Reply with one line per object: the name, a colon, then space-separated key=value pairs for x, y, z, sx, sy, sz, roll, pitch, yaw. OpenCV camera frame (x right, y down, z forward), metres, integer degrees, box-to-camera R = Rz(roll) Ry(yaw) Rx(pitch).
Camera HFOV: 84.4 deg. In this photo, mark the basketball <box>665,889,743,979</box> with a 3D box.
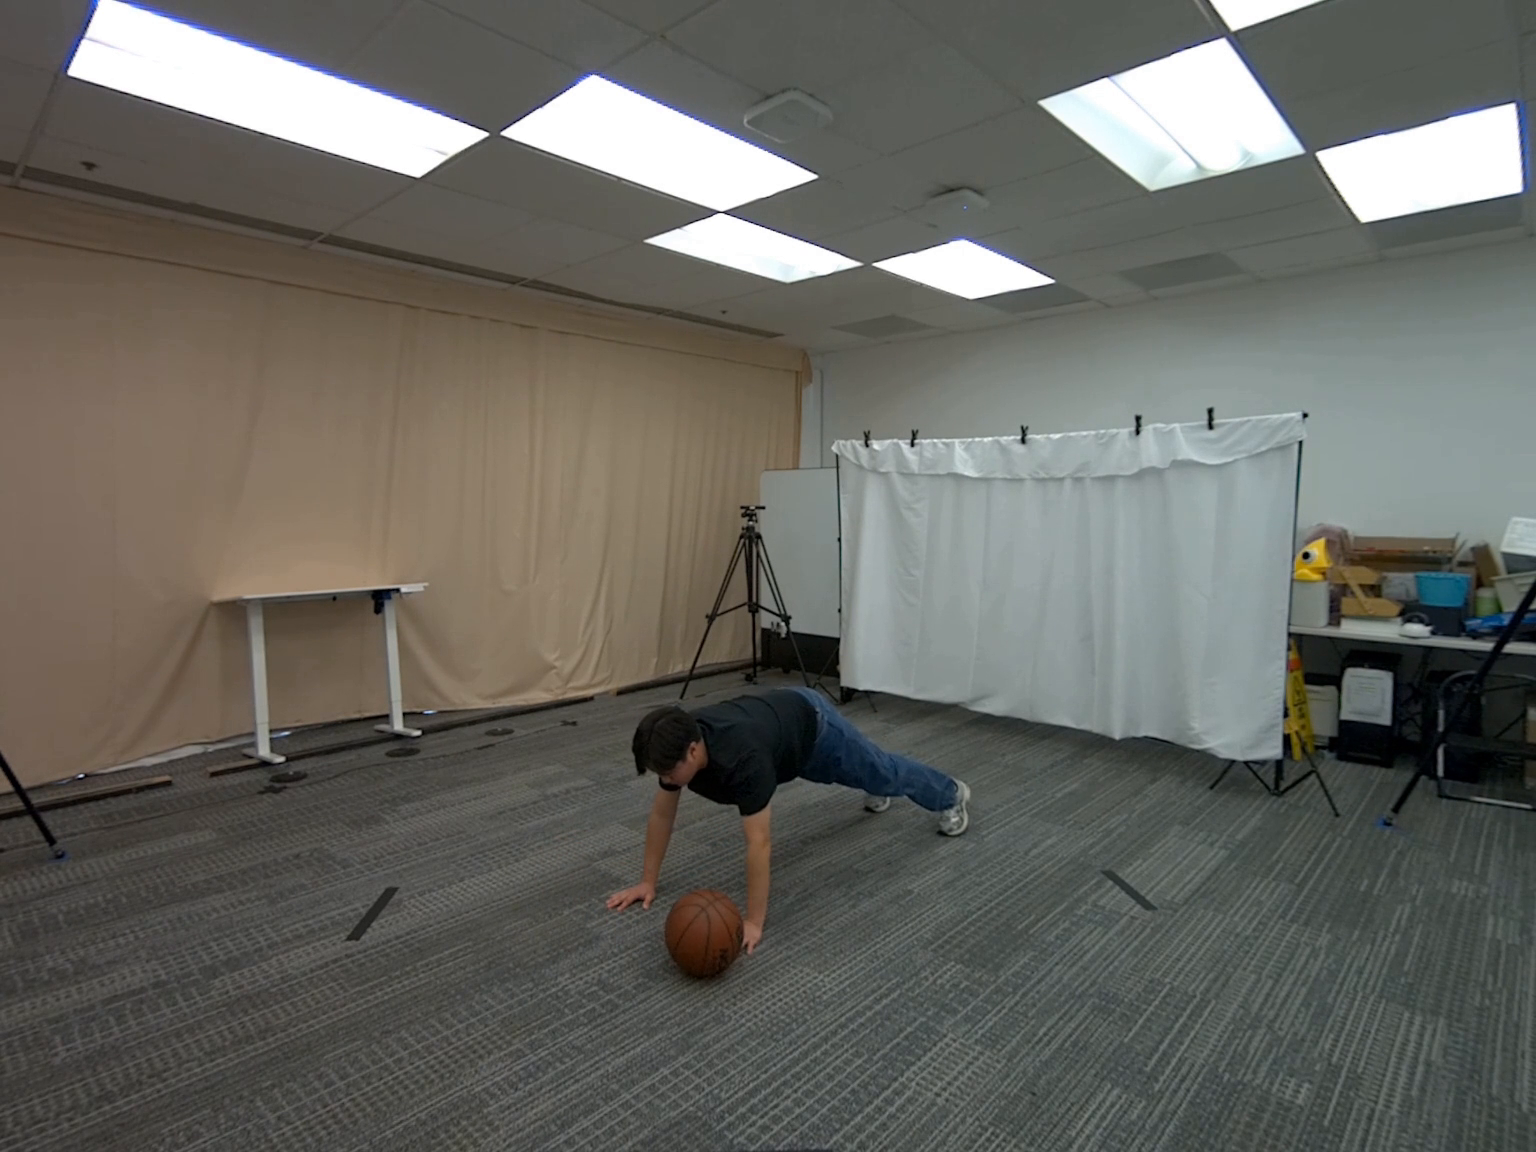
basketball: x=-0.192 y=1.063 z=2.513 sx=0.236 sy=0.235 sz=0.237 roll=0 pitch=4 yaw=-2
